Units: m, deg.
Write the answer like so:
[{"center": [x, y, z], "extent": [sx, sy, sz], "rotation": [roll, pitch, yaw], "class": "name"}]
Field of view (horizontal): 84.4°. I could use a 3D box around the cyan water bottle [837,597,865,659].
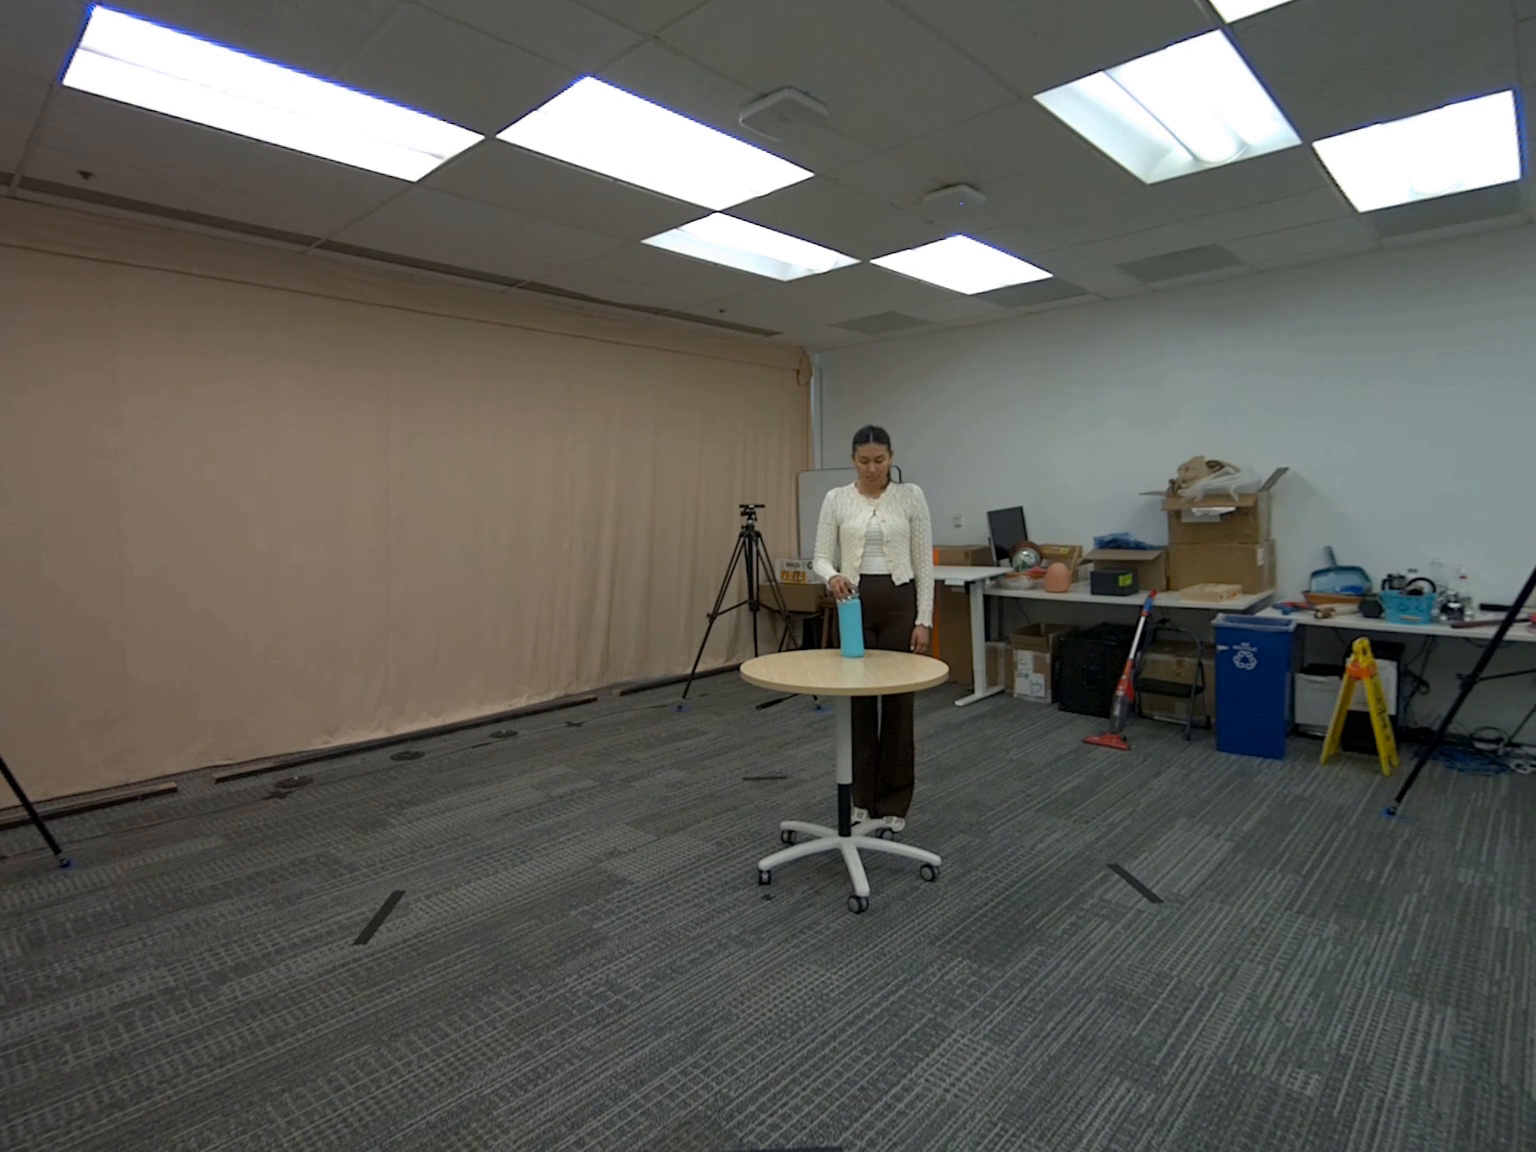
[{"center": [0.342, 0.177, 3.362], "extent": [0.092, 0.283, 0.092], "rotation": [-4, 0, -2], "class": "cyan water bottle"}]
